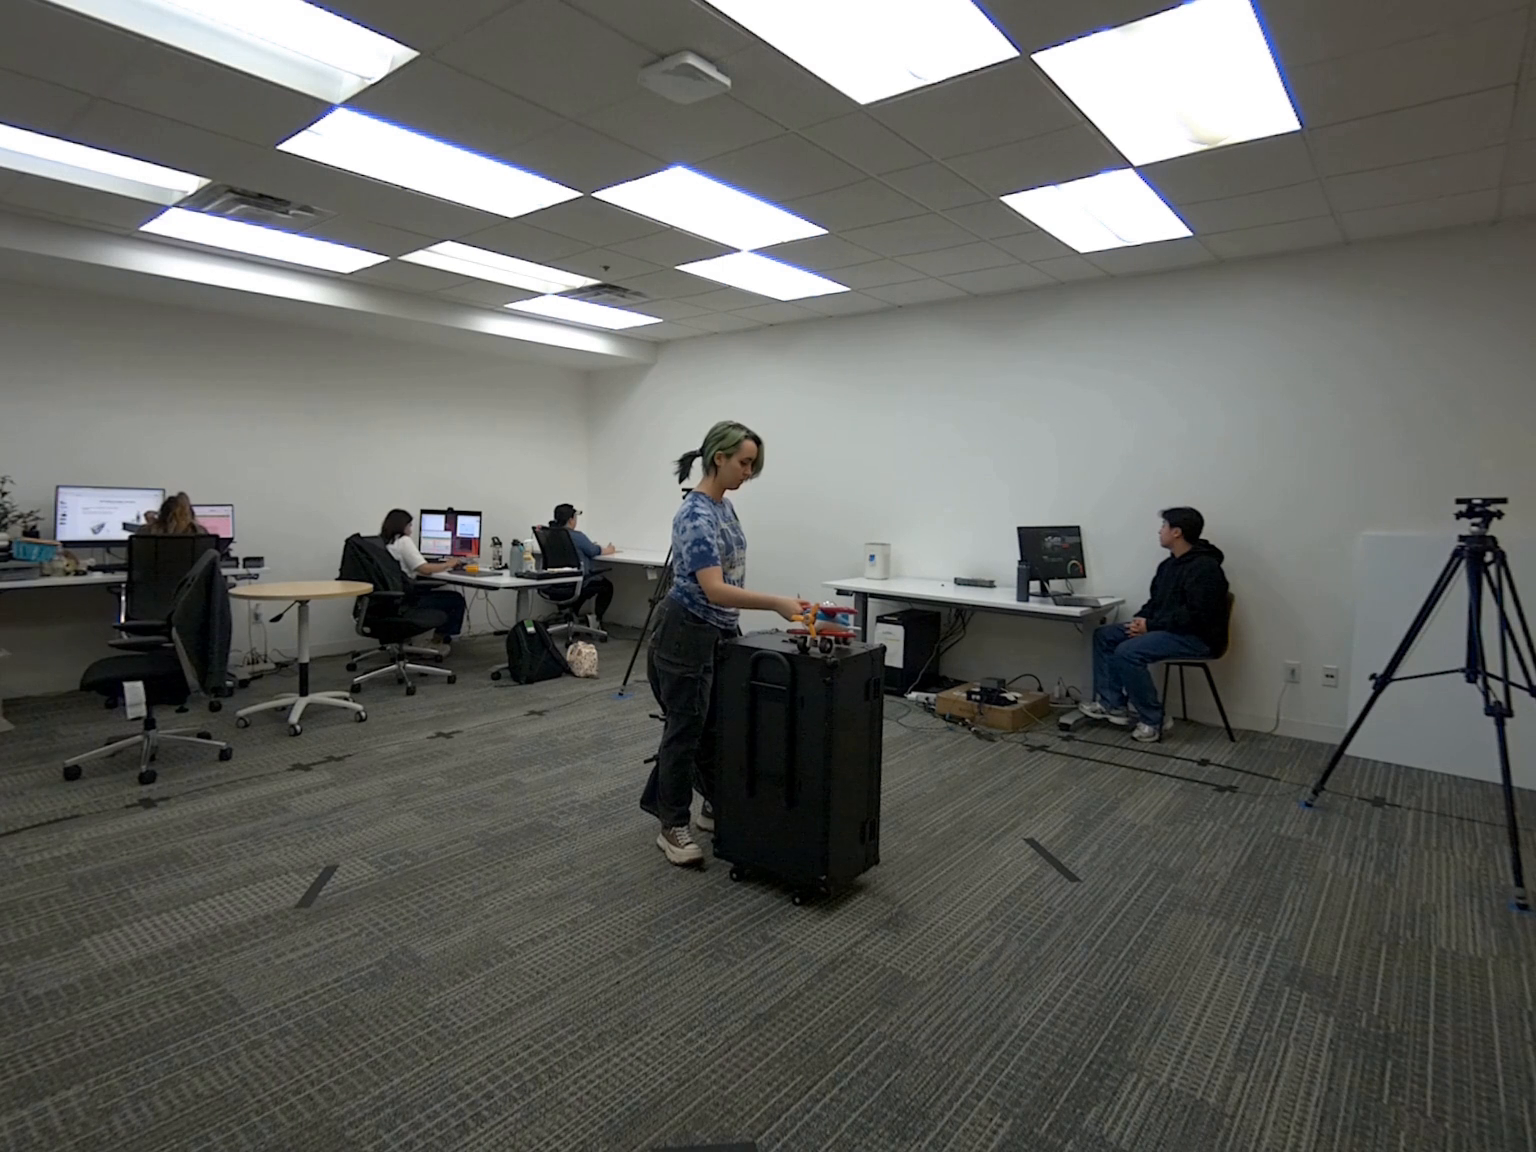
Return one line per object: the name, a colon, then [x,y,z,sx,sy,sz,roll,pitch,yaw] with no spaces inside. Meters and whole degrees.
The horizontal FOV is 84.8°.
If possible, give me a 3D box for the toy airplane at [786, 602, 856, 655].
toy airplane: [0.174,0.170,2.907,0.254,0.156,0.257,-6,2,9]
